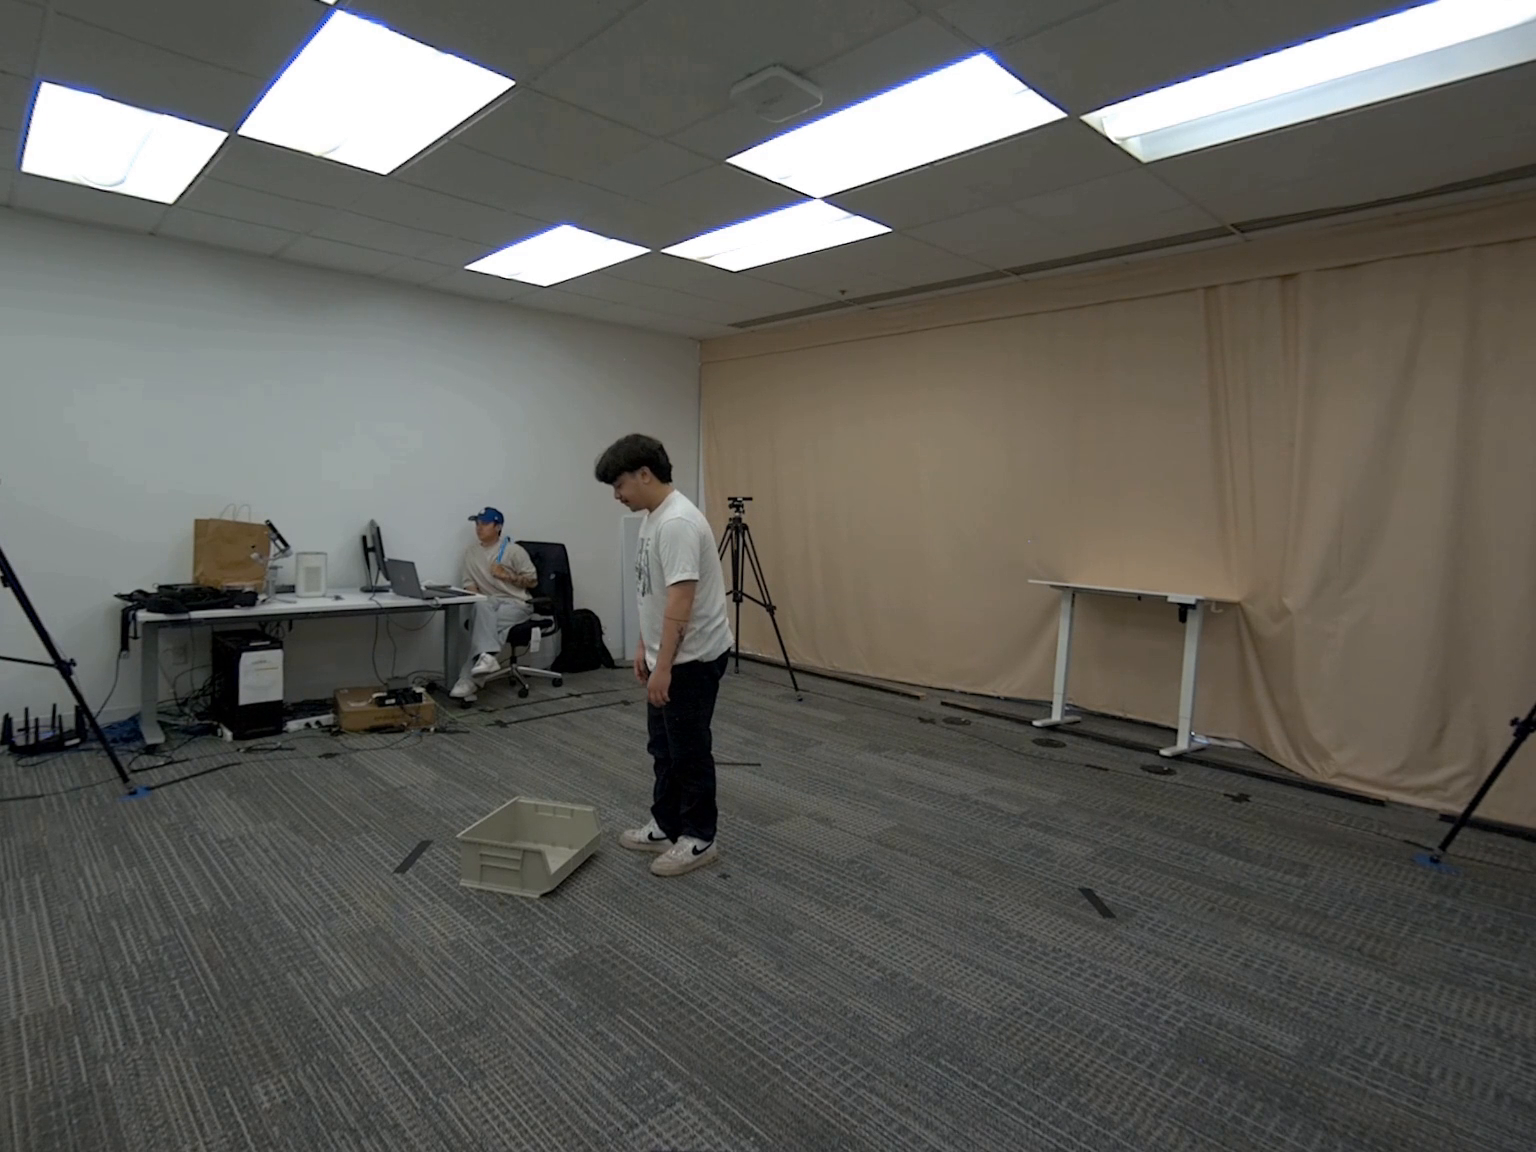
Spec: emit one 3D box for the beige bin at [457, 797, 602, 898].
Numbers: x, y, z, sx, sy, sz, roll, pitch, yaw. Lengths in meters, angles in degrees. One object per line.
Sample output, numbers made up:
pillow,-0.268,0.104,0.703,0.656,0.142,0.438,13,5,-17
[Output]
beige bin,-0.881,1.001,3.123,0.382,0.188,0.419,2,6,14
